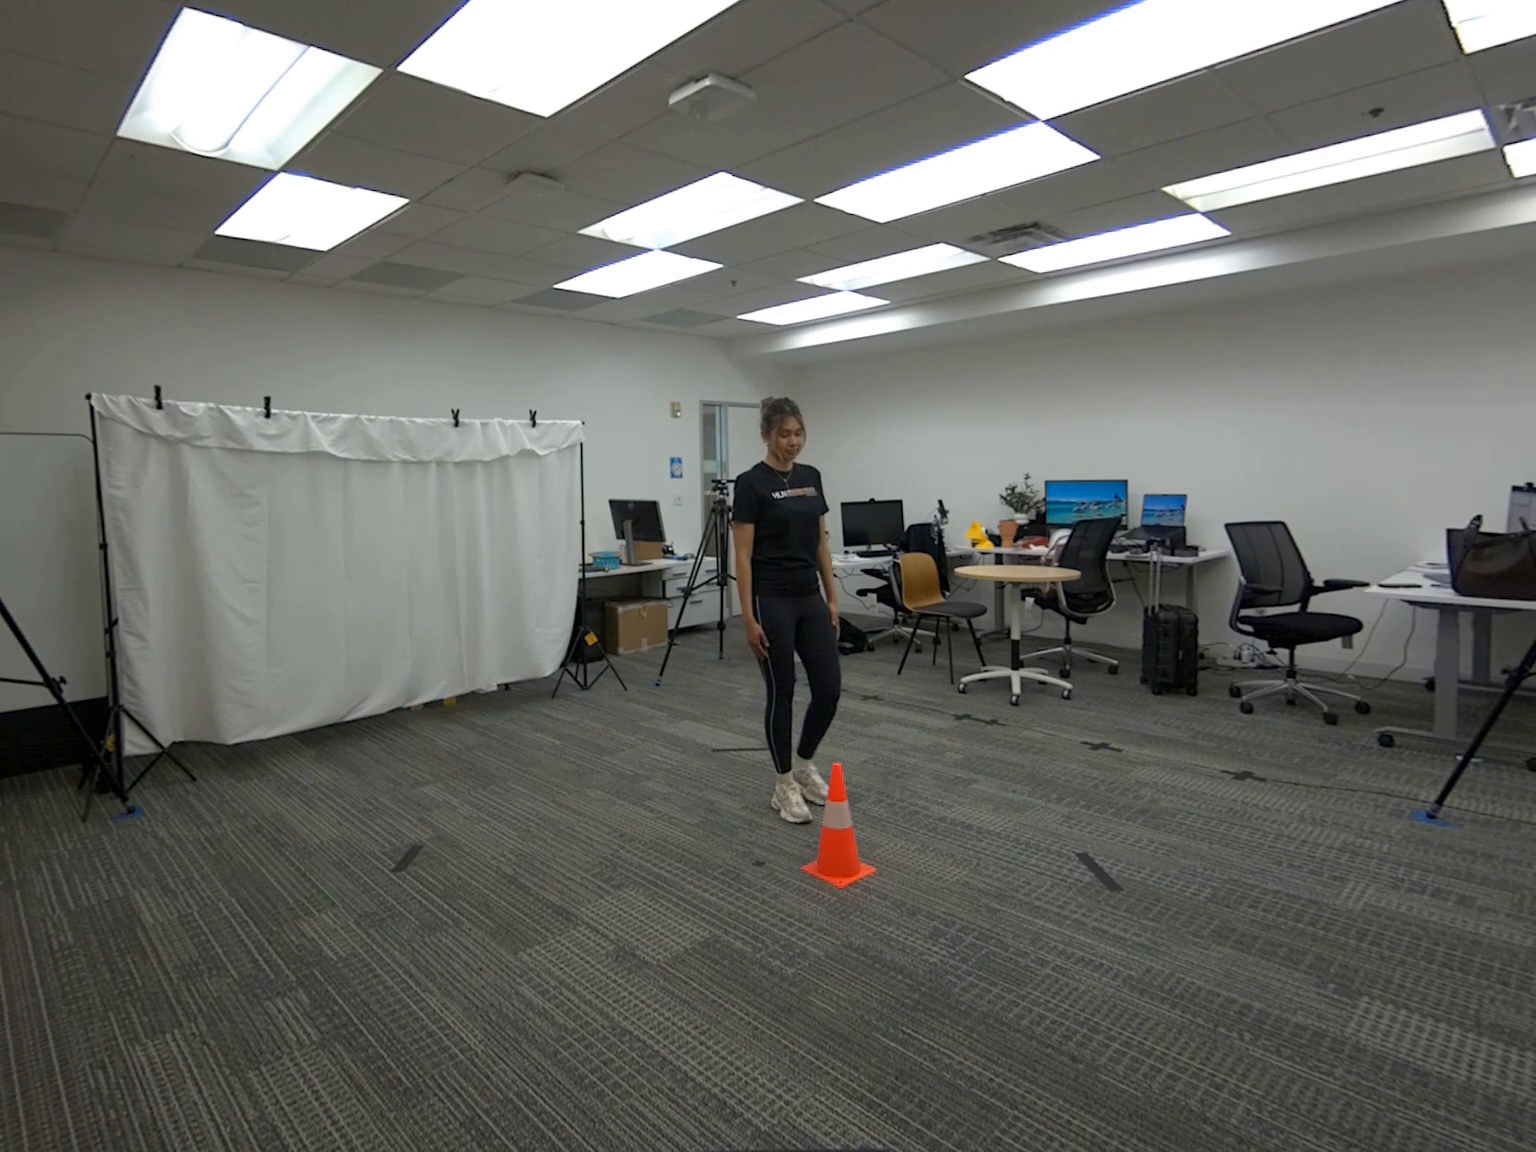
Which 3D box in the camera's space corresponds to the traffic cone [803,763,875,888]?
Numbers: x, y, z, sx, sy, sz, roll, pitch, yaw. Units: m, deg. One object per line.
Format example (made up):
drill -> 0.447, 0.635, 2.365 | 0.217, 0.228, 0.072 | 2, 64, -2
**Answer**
traffic cone -> 0.253, 0.866, 3.041 | 0.211, 0.382, 0.198 | 4, 7, 44
